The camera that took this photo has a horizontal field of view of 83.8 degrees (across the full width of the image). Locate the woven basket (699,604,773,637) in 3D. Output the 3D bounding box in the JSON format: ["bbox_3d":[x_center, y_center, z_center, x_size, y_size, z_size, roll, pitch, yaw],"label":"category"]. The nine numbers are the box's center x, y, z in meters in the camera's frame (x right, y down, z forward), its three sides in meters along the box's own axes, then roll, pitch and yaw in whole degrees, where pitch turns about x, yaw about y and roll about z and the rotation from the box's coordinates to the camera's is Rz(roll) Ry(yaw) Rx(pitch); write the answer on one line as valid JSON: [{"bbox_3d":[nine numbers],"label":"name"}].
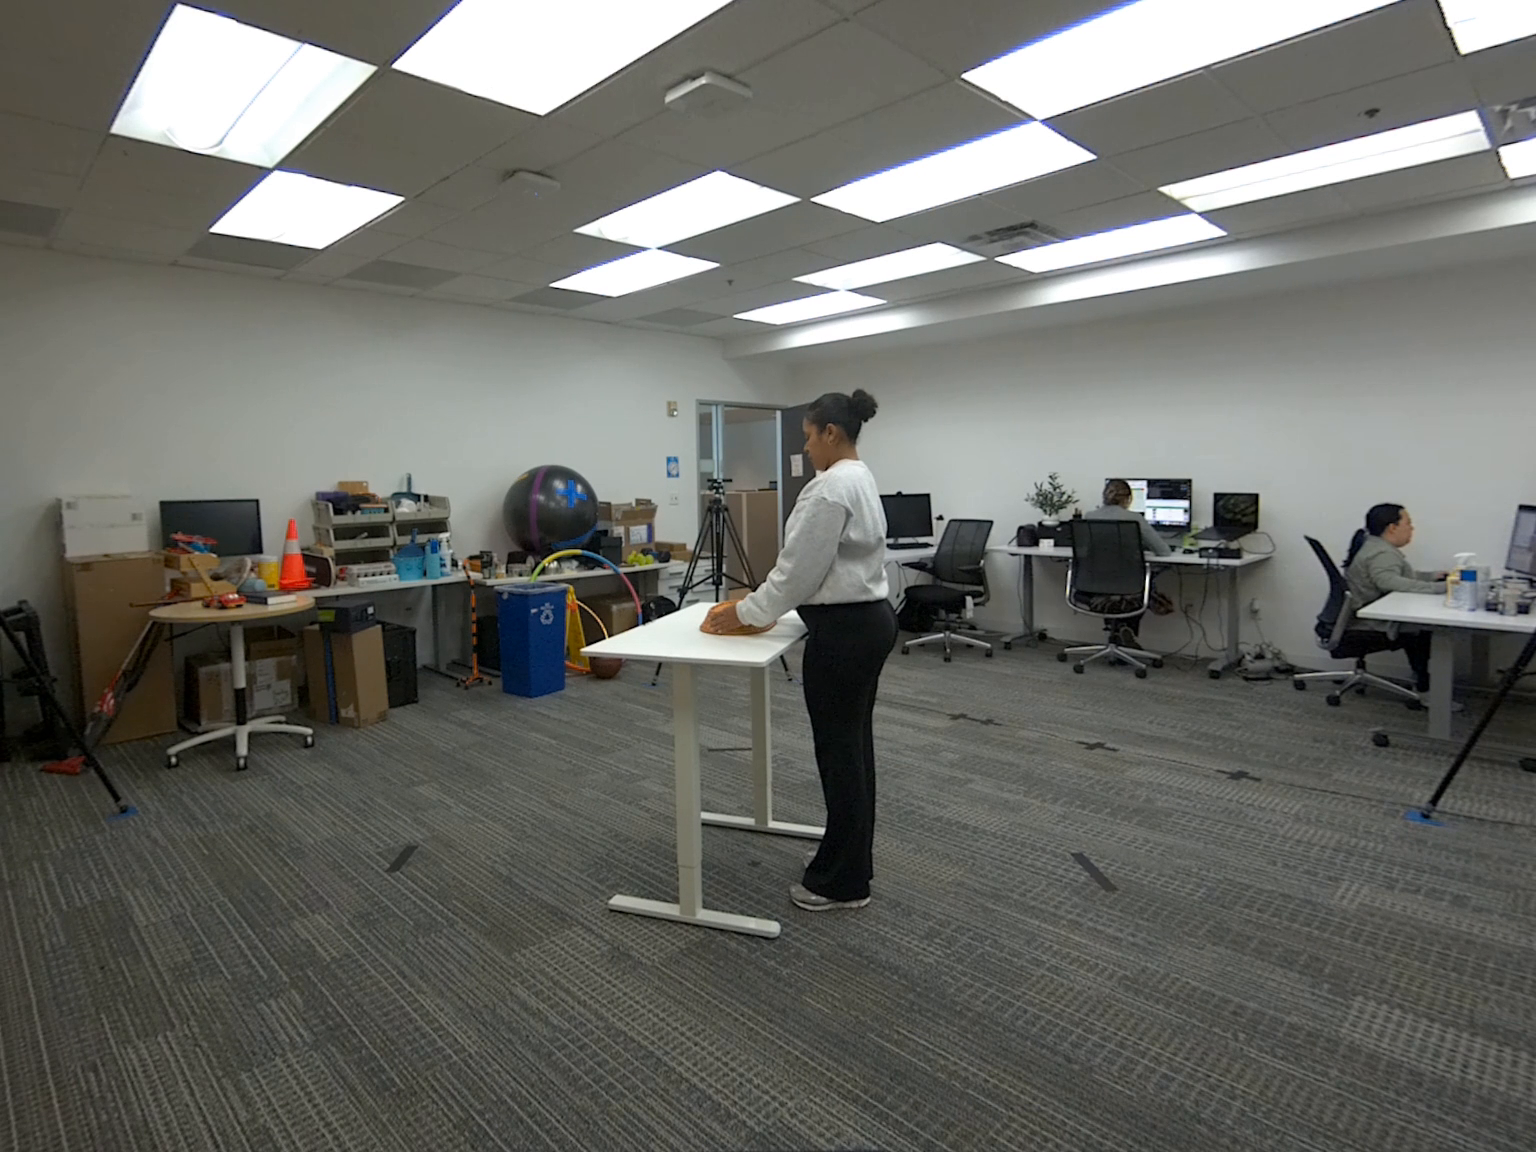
[{"bbox_3d":[-0.063,0.142,3.006,0.257,0.073,0.345,-1,6,22],"label":"woven basket"}]
